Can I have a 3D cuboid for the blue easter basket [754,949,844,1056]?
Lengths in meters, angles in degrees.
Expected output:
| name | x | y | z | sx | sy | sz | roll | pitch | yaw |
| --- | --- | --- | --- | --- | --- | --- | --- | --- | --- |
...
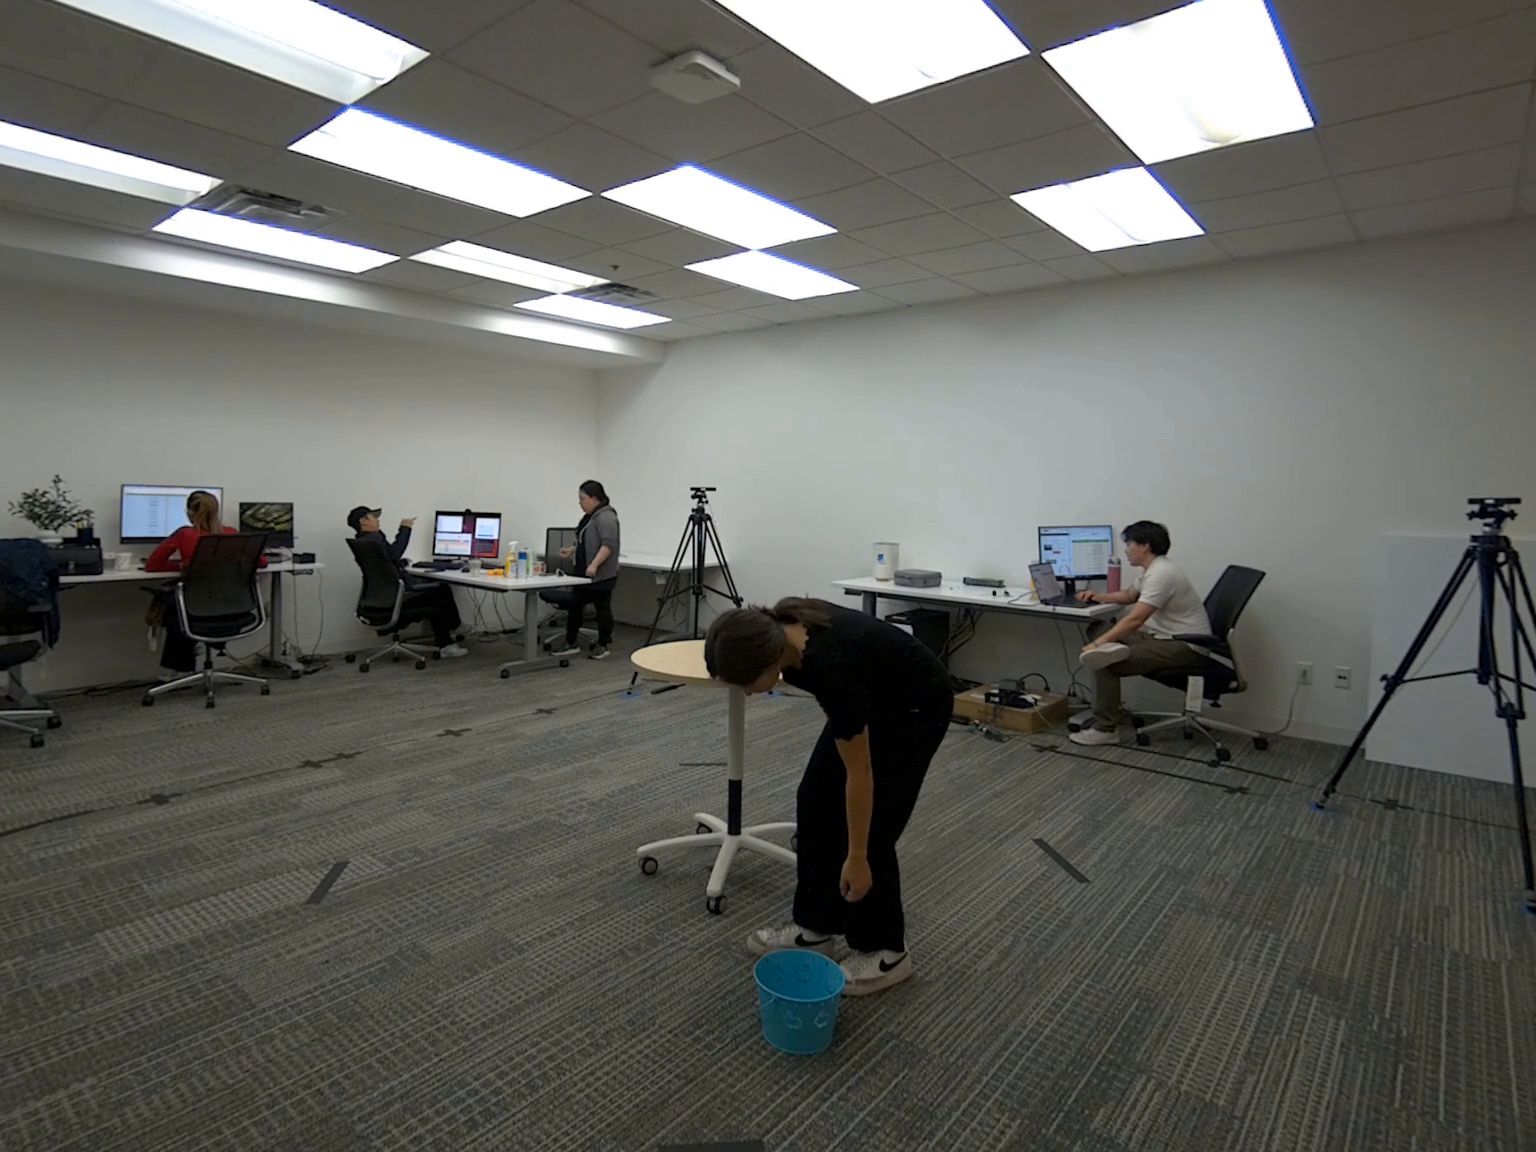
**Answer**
| name | x | y | z | sx | sy | sz | roll | pitch | yaw |
| --- | --- | --- | --- | --- | --- | --- | --- | --- | --- |
| blue easter basket | 0.077 | 1.084 | 2.196 | 0.243 | 0.155 | 0.245 | 2 | 5 | -2 |
